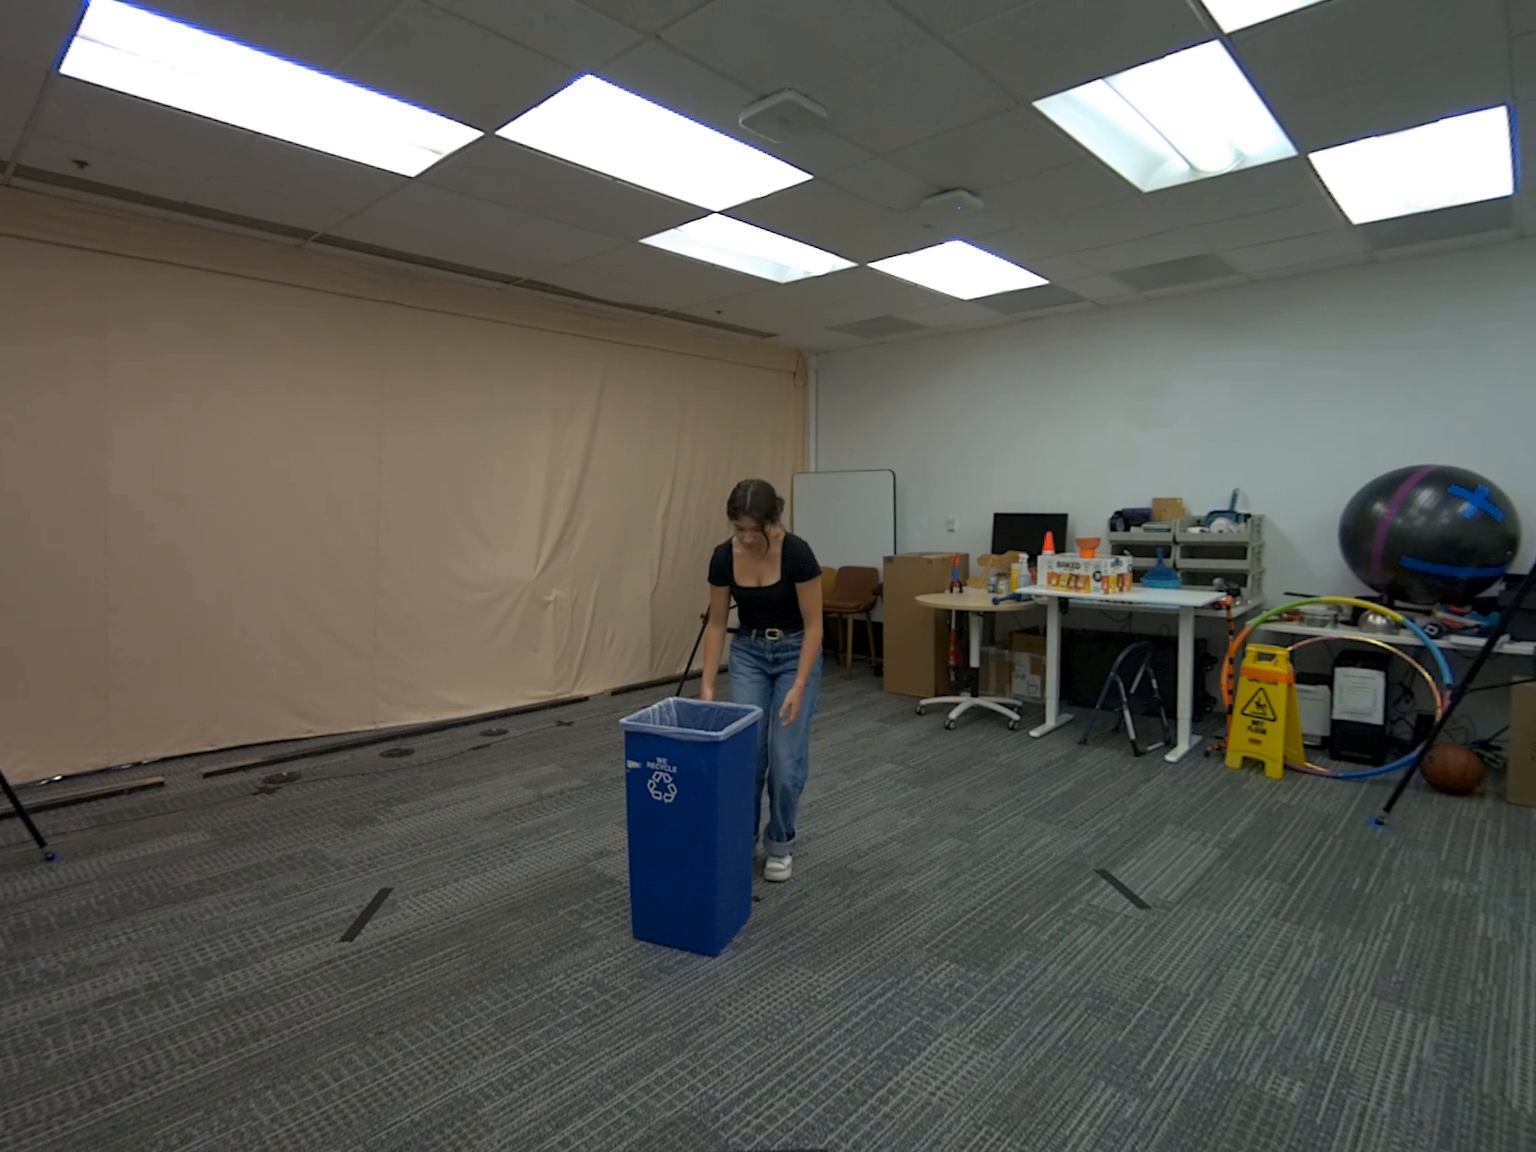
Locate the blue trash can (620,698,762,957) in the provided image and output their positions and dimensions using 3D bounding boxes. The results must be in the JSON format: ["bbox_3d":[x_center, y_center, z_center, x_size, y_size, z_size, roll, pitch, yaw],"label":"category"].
[{"bbox_3d":[-0.243,0.806,2.766,0.383,0.712,0.370,1,4,23],"label":"blue trash can"}]
